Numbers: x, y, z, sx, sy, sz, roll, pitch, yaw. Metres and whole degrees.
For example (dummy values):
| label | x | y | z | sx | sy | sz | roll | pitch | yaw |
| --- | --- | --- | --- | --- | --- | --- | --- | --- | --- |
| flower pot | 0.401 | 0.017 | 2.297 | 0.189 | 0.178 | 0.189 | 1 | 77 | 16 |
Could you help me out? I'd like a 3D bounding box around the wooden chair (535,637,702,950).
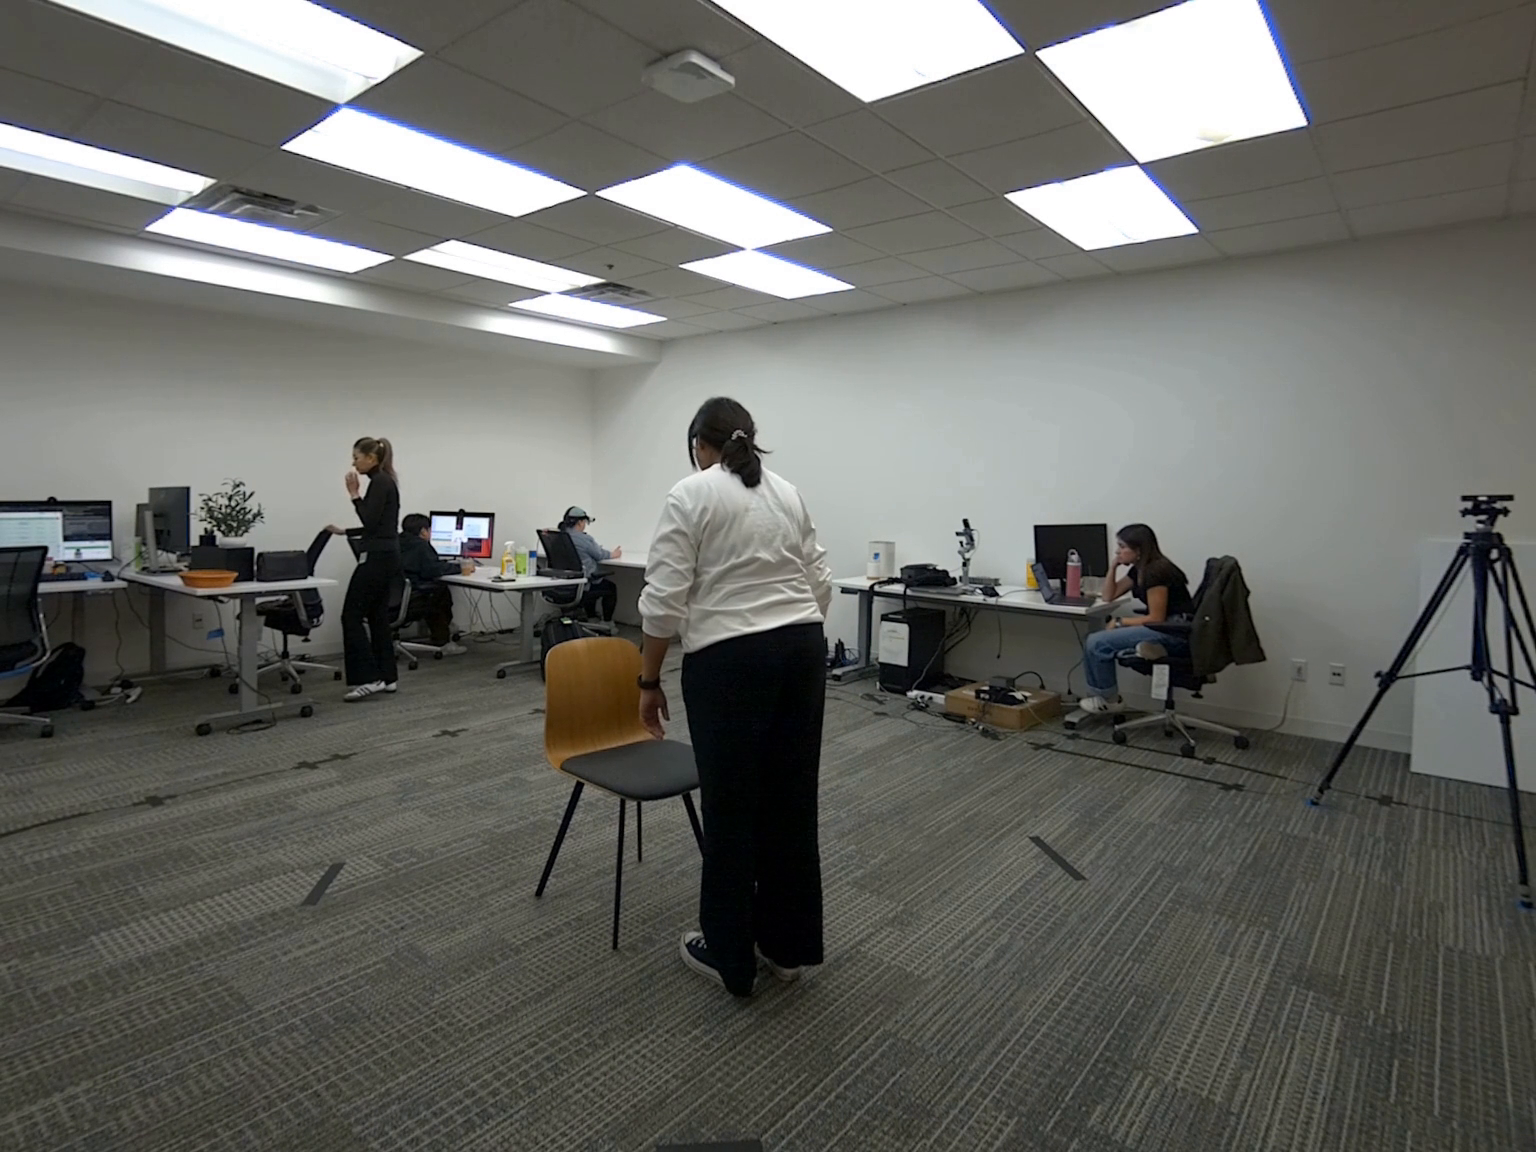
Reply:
| label | x | y | z | sx | sy | sz | roll | pitch | yaw |
| --- | --- | --- | --- | --- | --- | --- | --- | --- | --- |
| wooden chair | -0.455 | 0.660 | 2.831 | 0.463 | 0.878 | 0.539 | -2 | 0 | -45 |
